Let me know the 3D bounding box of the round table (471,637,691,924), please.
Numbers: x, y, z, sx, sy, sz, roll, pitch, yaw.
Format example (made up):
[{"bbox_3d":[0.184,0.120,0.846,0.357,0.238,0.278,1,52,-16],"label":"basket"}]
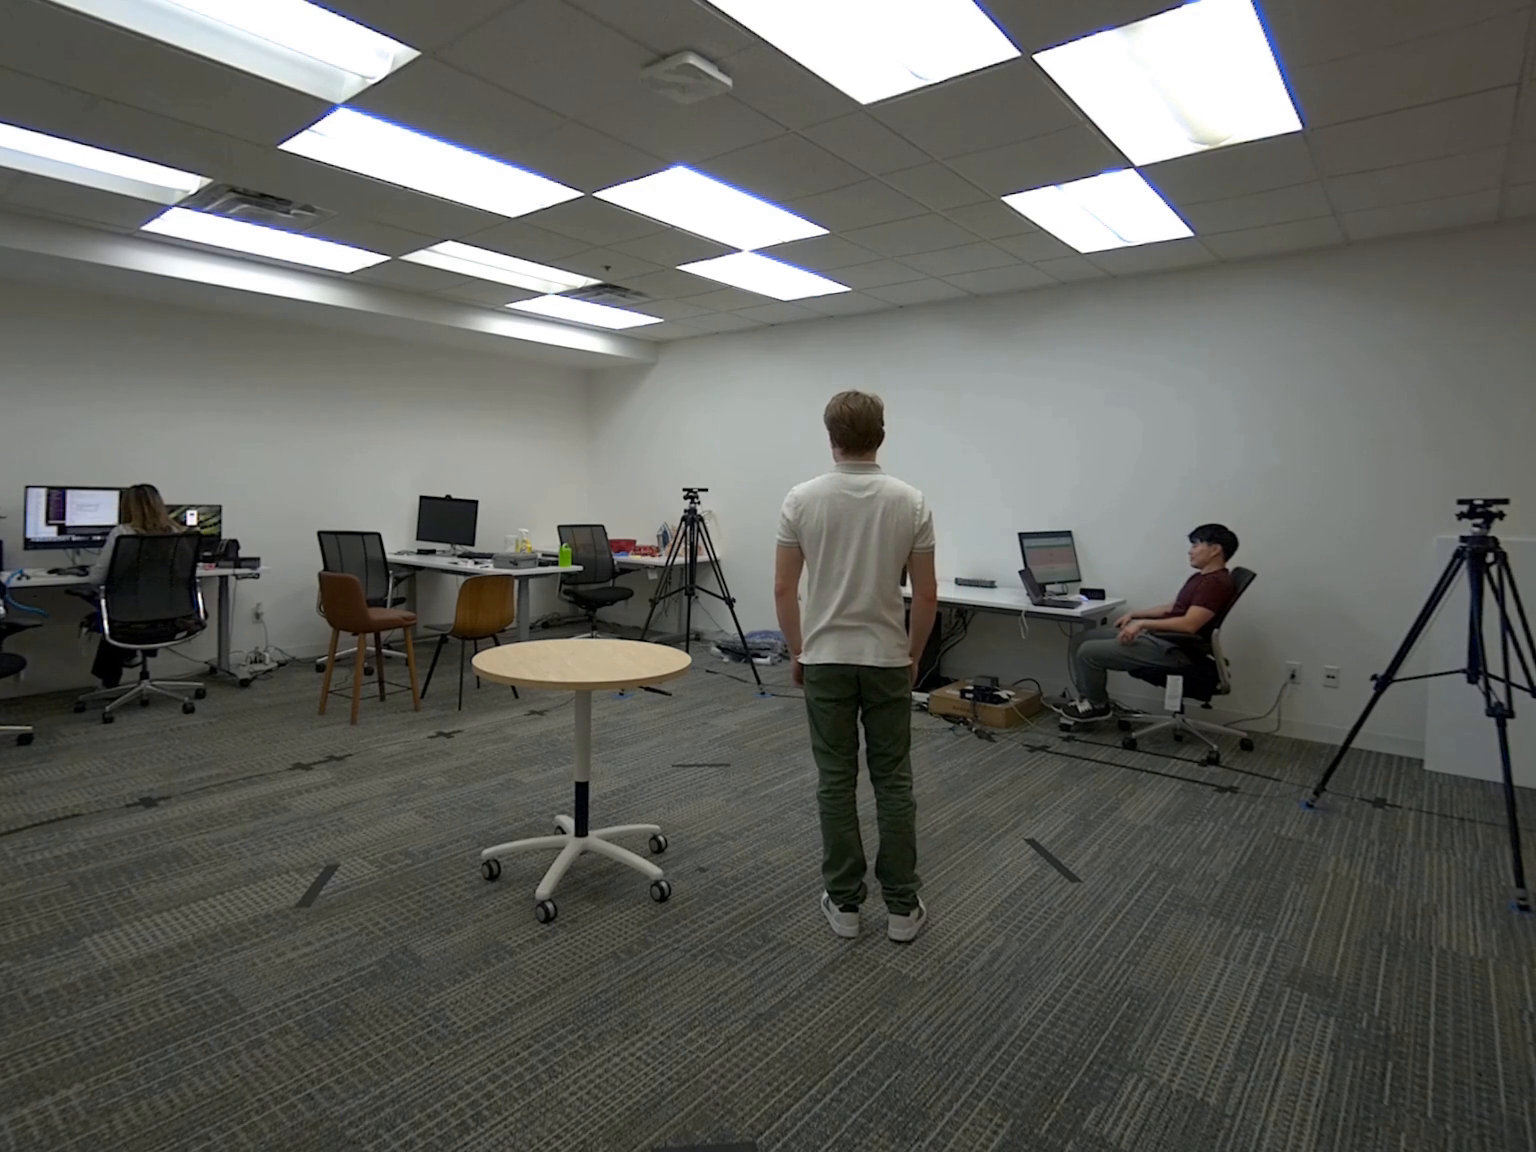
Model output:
[{"bbox_3d":[-0.667,0.680,3.039,0.763,0.792,0.767,1,4,-2],"label":"round table"}]
